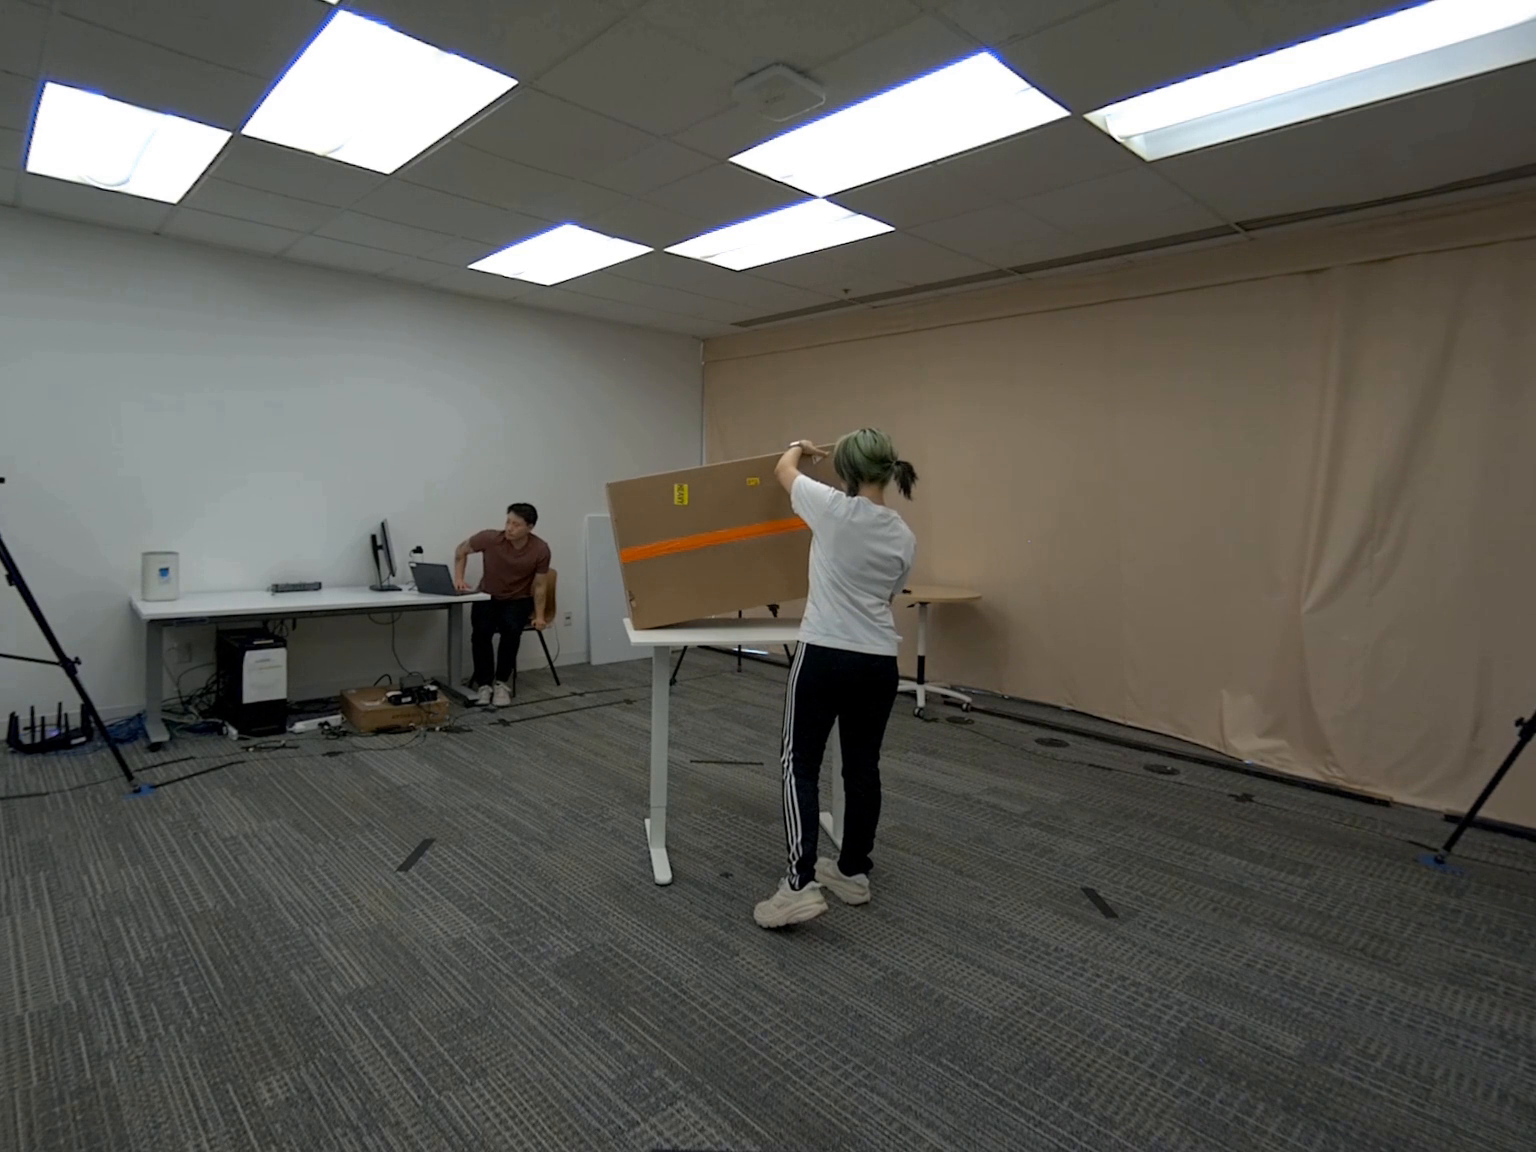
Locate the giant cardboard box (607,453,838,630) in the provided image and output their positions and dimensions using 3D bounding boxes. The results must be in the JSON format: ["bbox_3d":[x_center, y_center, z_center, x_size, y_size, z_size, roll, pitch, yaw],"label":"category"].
[{"bbox_3d":[-0.108,-0.166,3.446,1.022,0.583,0.450,-10,3,-7],"label":"giant cardboard box"}]
